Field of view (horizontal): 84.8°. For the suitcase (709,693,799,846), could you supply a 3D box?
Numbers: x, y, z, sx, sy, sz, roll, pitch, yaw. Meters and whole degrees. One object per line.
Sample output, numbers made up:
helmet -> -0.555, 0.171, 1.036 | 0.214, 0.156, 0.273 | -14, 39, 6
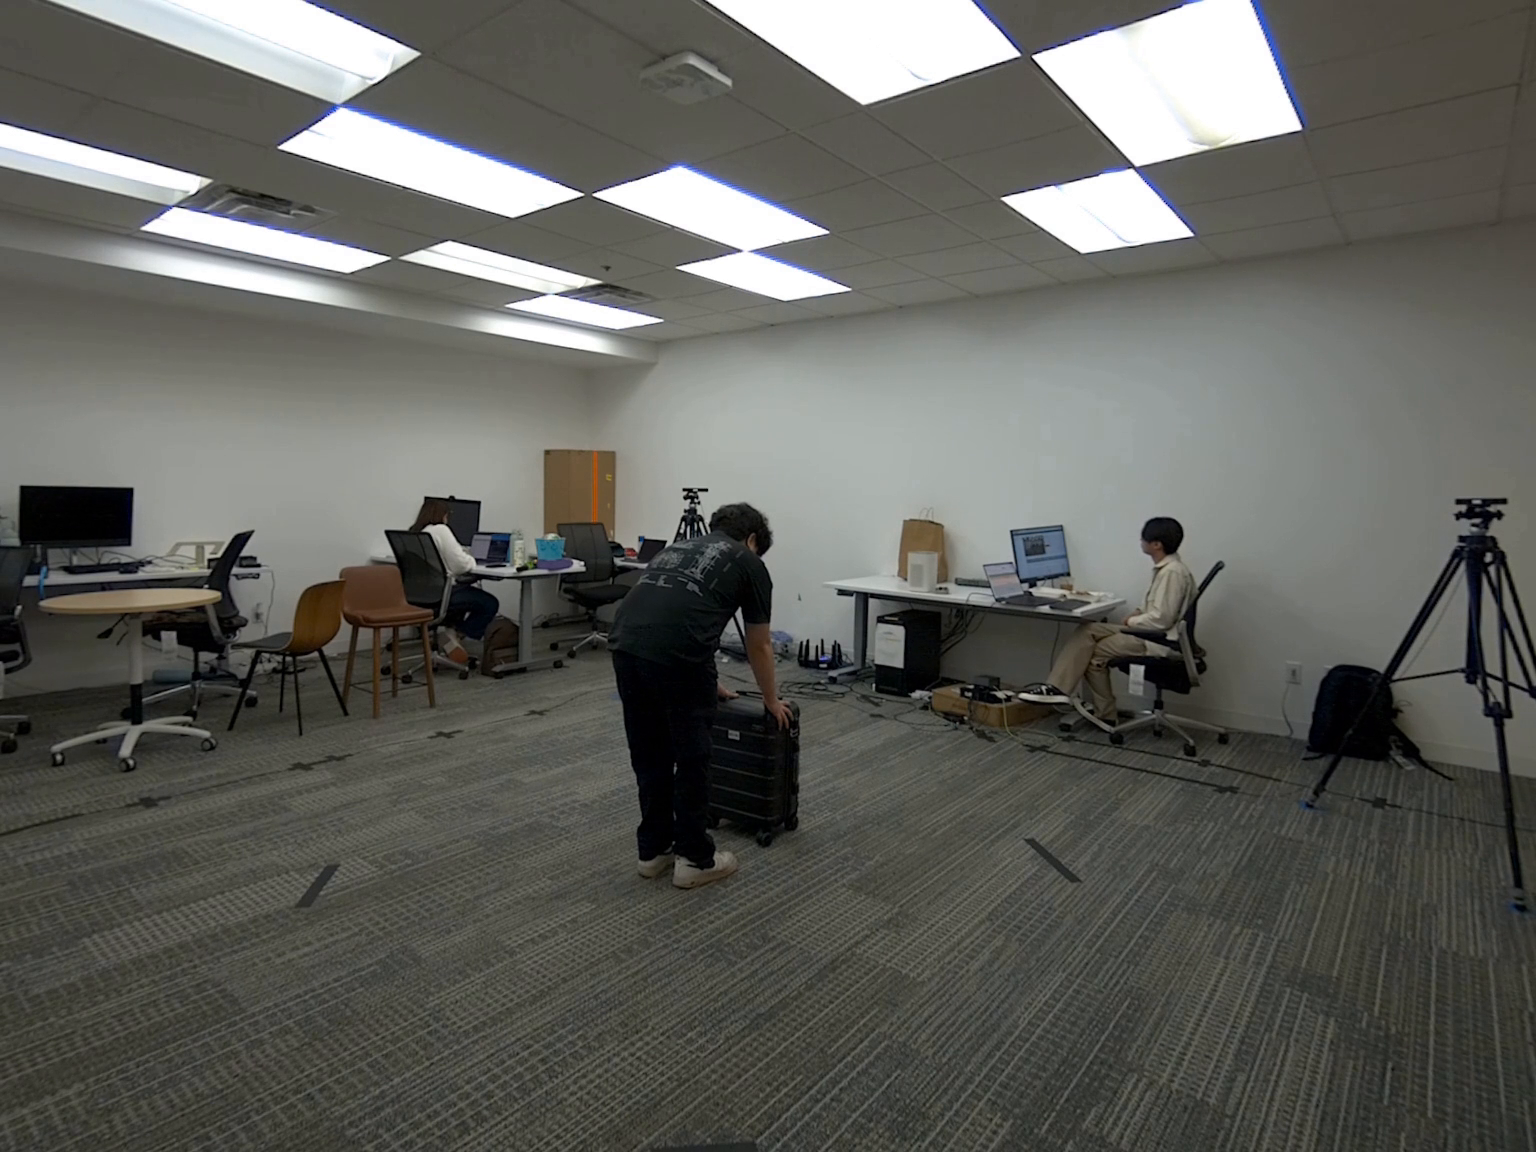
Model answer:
suitcase -> -0.070, 0.762, 3.508 | 0.387, 0.548, 0.241 | 3, 2, 31
